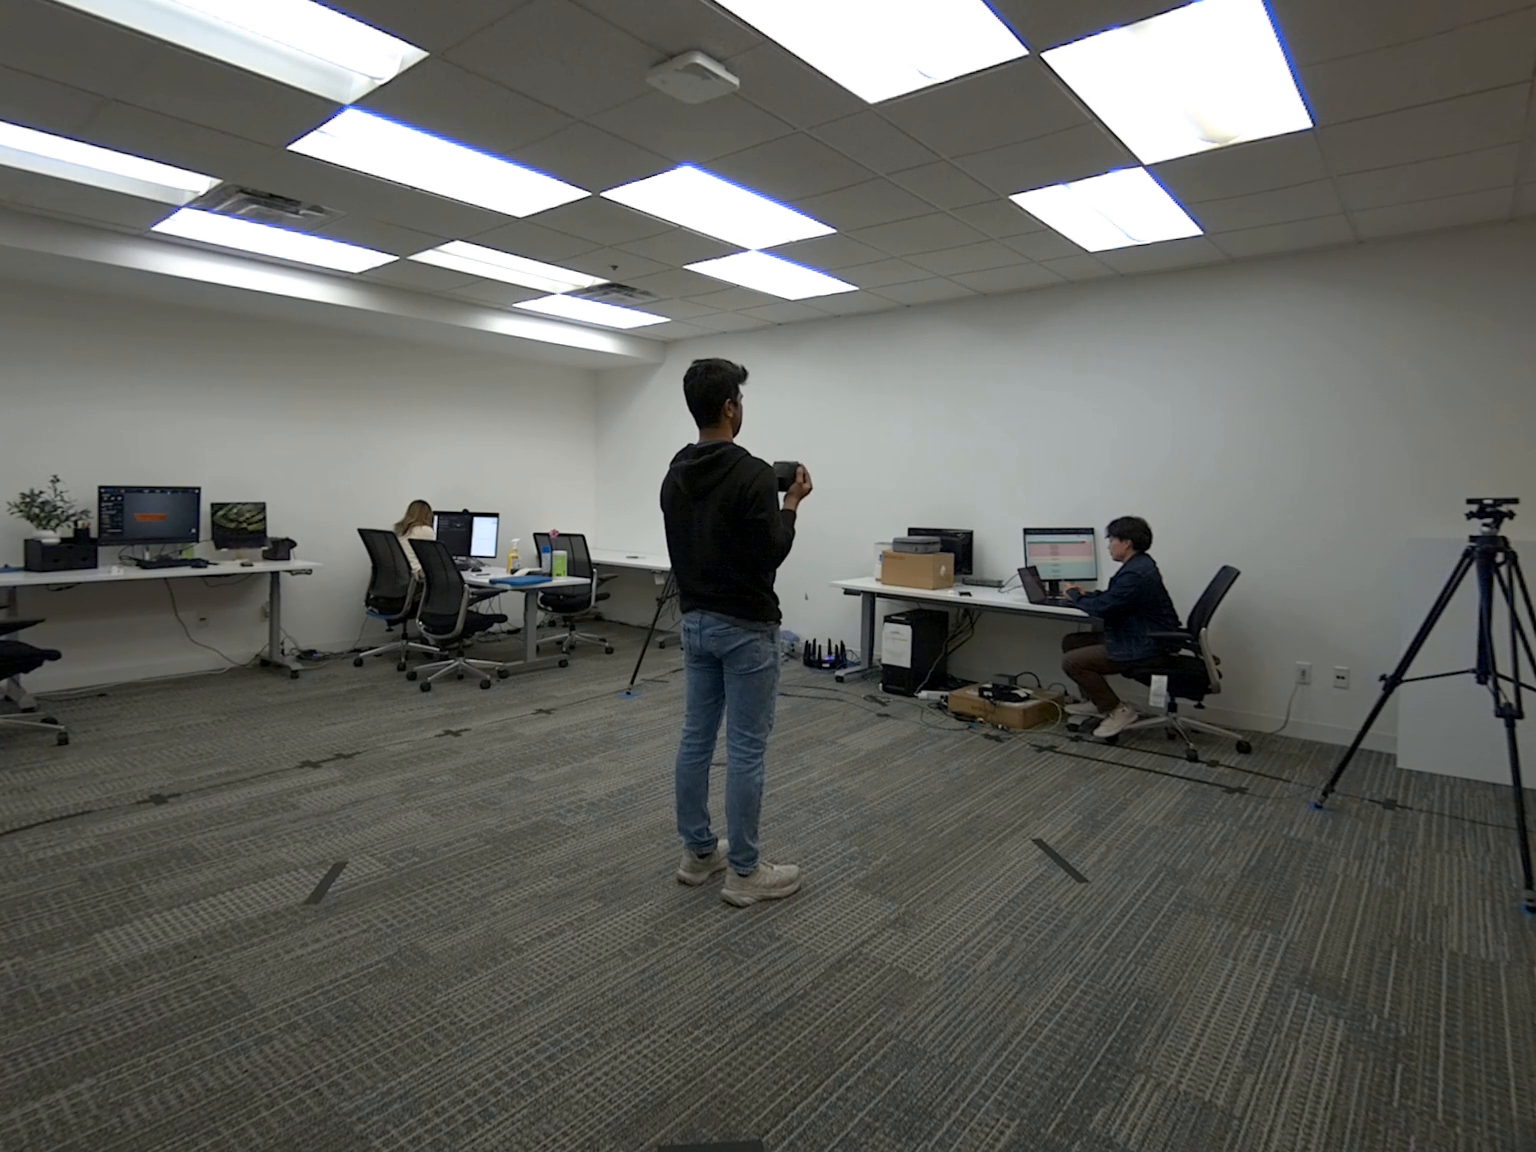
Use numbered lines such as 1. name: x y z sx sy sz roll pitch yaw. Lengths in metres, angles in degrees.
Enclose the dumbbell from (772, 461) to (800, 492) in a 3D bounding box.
1. dumbbell: -0.029 -0.348 3.051 0.304 0.108 0.120 7 13 39
